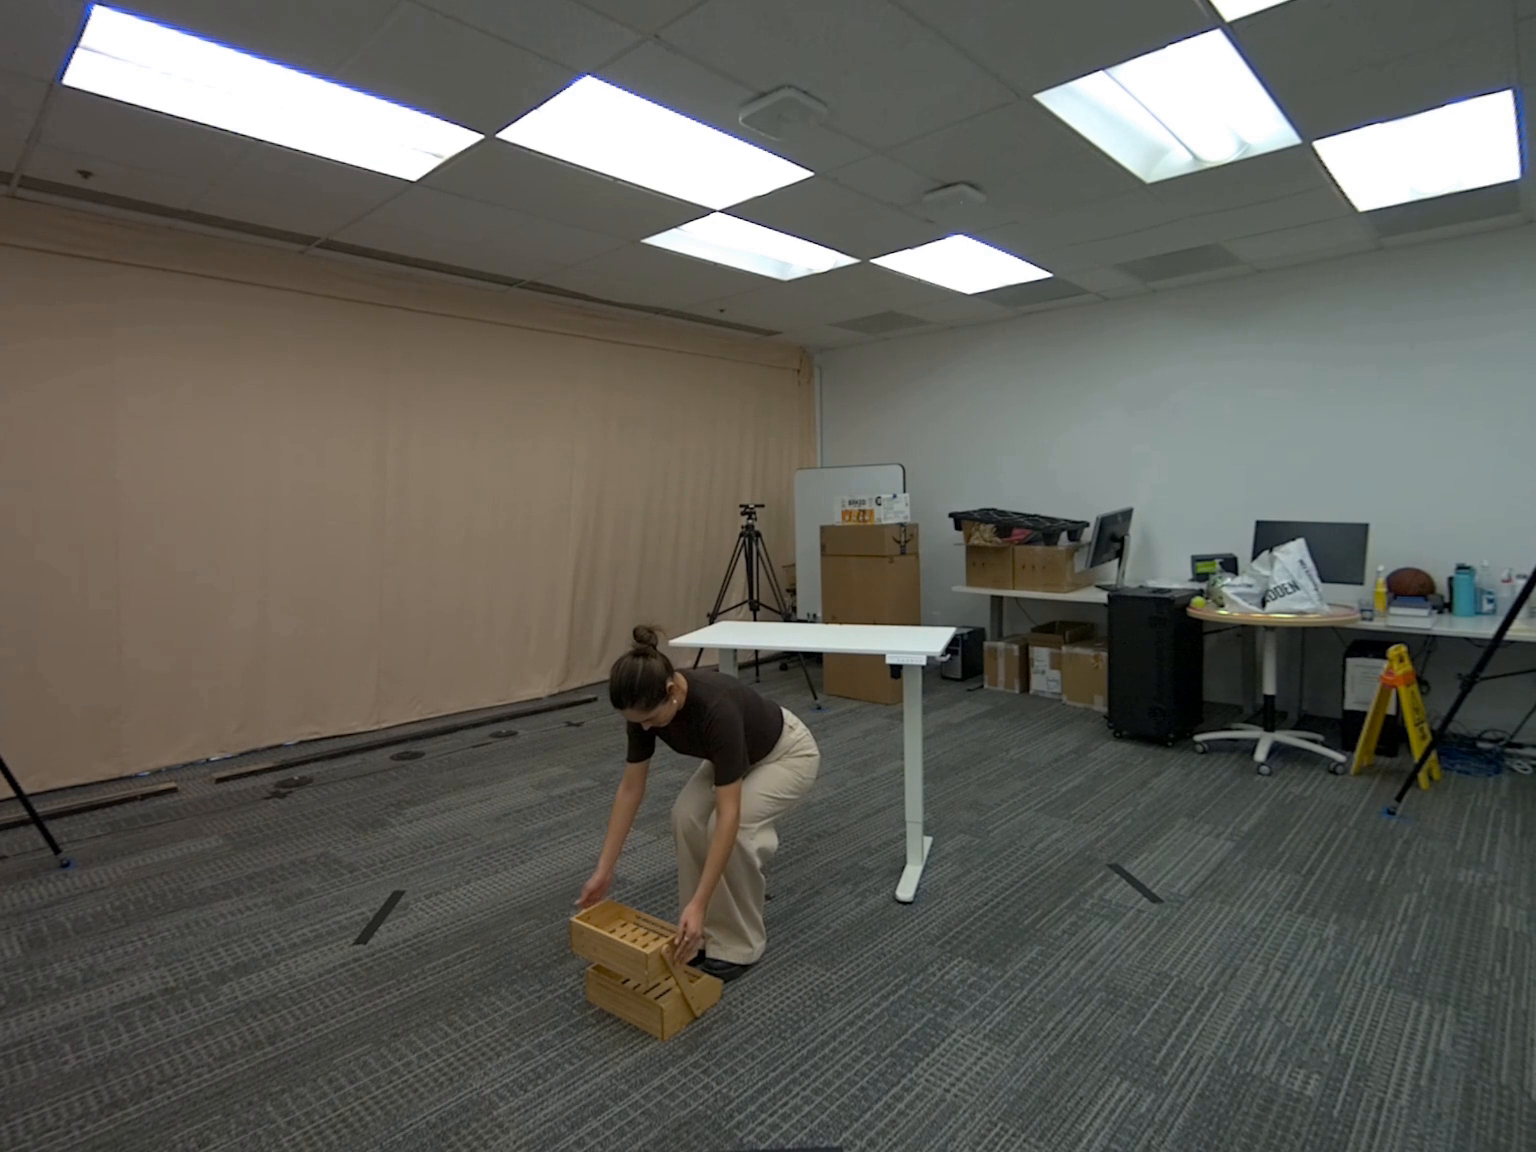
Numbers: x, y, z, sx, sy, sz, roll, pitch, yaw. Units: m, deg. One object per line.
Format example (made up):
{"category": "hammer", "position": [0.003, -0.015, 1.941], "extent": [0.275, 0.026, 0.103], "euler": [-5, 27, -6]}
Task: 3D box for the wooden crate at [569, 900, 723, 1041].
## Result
{"category": "wooden crate", "position": [-0.333, 1.061, 2.359], "extent": [0.335, 0.272, 0.293], "euler": [3, 6, 37]}
